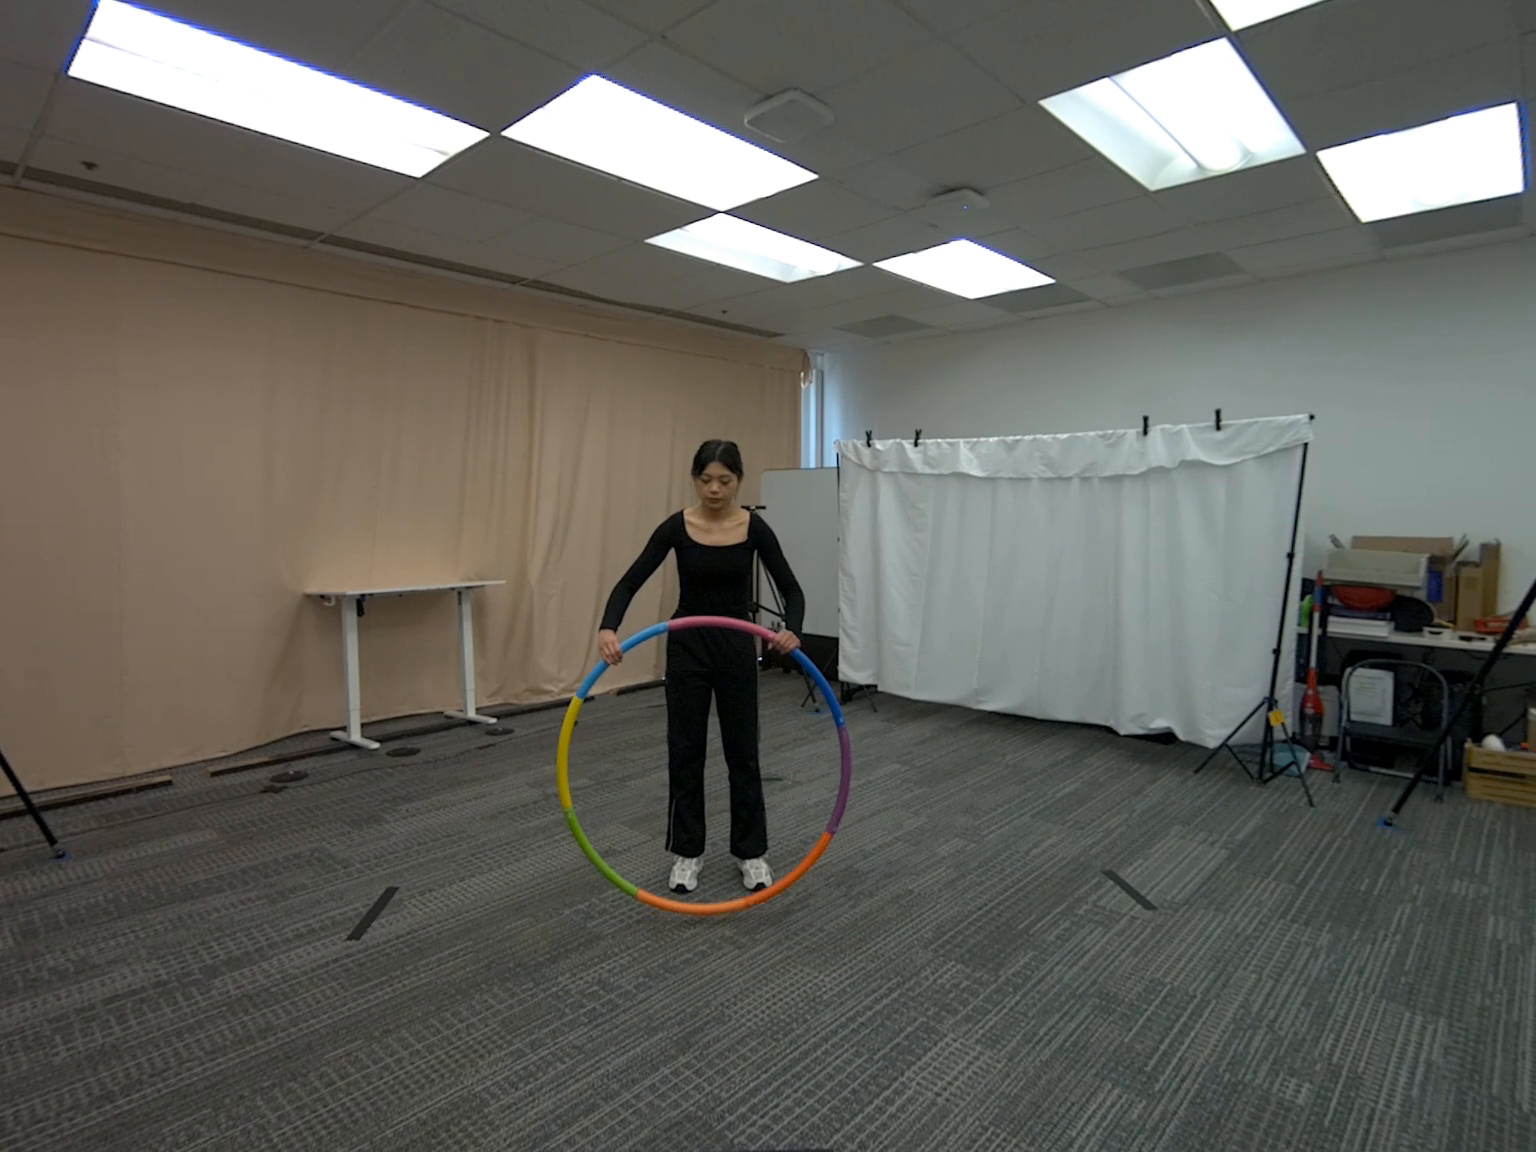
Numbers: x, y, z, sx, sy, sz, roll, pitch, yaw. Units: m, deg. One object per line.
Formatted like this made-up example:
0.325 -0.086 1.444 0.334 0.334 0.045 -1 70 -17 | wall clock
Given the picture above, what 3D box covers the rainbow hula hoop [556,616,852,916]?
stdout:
-0.199 0.637 2.778 0.972 0.978 0.036 0 1 -5 | rainbow hula hoop
